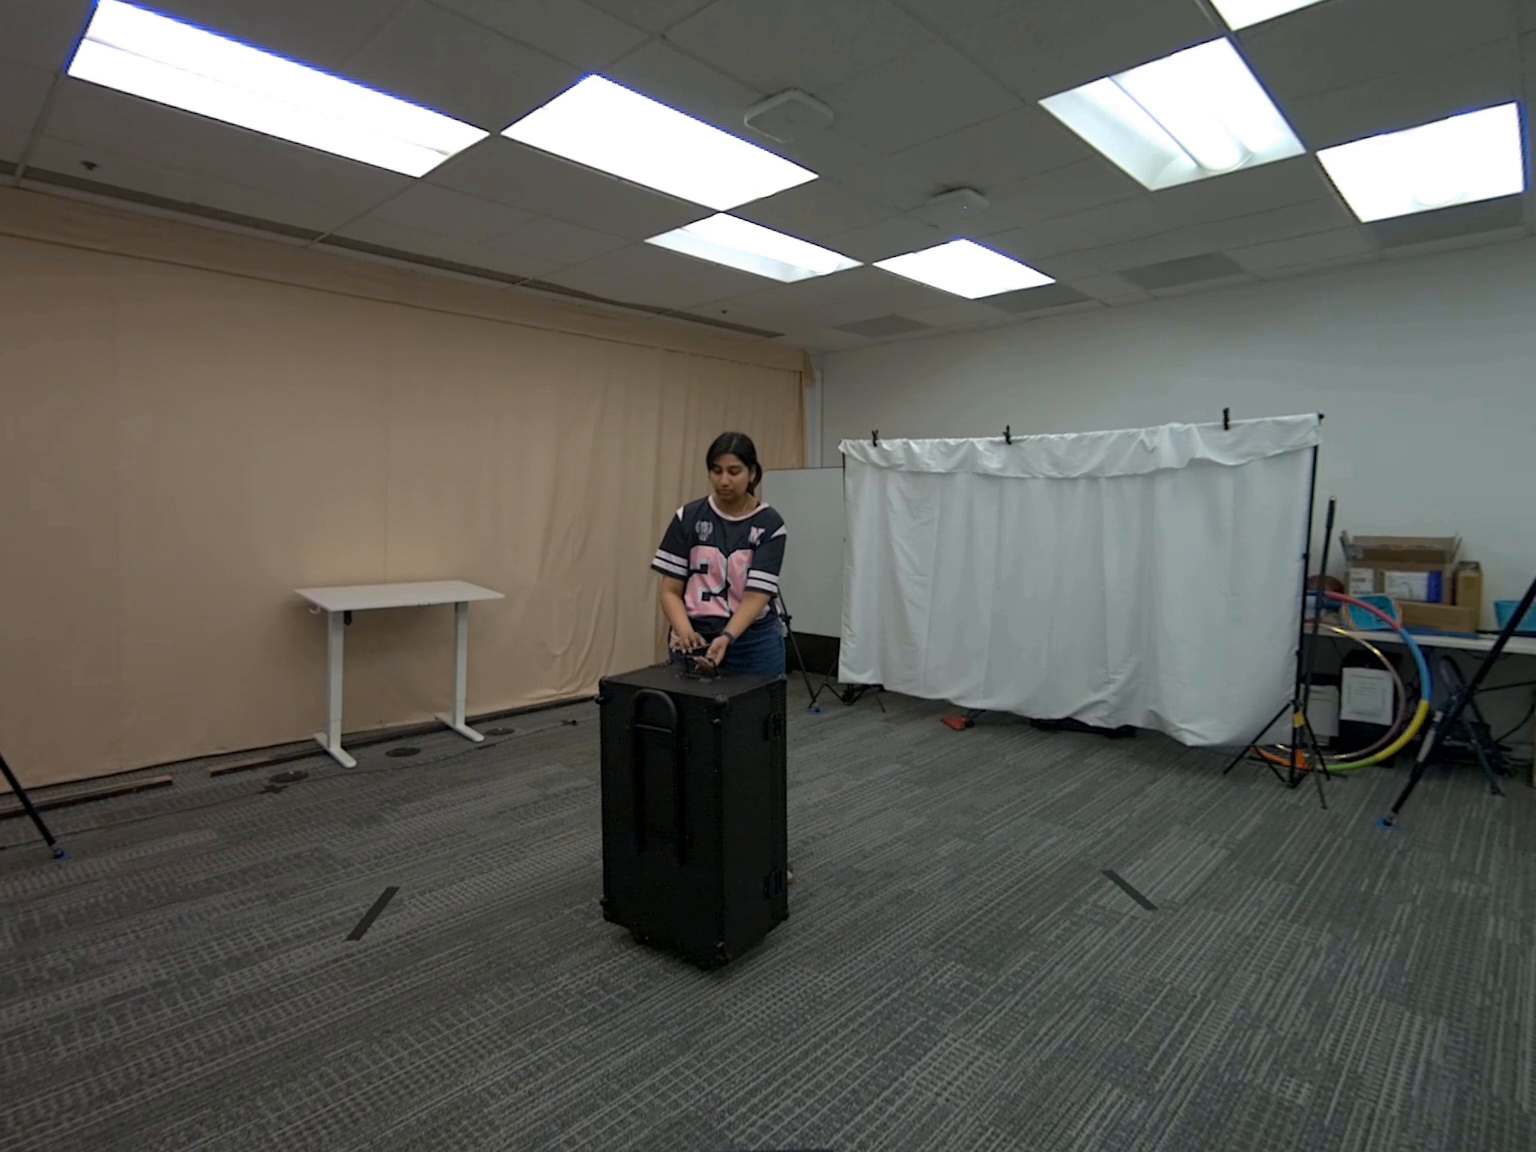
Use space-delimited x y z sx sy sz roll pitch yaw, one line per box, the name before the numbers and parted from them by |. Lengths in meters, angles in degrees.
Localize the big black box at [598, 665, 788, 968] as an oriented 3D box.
big black box | -0.227 0.748 2.670 0.539 0.866 0.374 2 4 34
